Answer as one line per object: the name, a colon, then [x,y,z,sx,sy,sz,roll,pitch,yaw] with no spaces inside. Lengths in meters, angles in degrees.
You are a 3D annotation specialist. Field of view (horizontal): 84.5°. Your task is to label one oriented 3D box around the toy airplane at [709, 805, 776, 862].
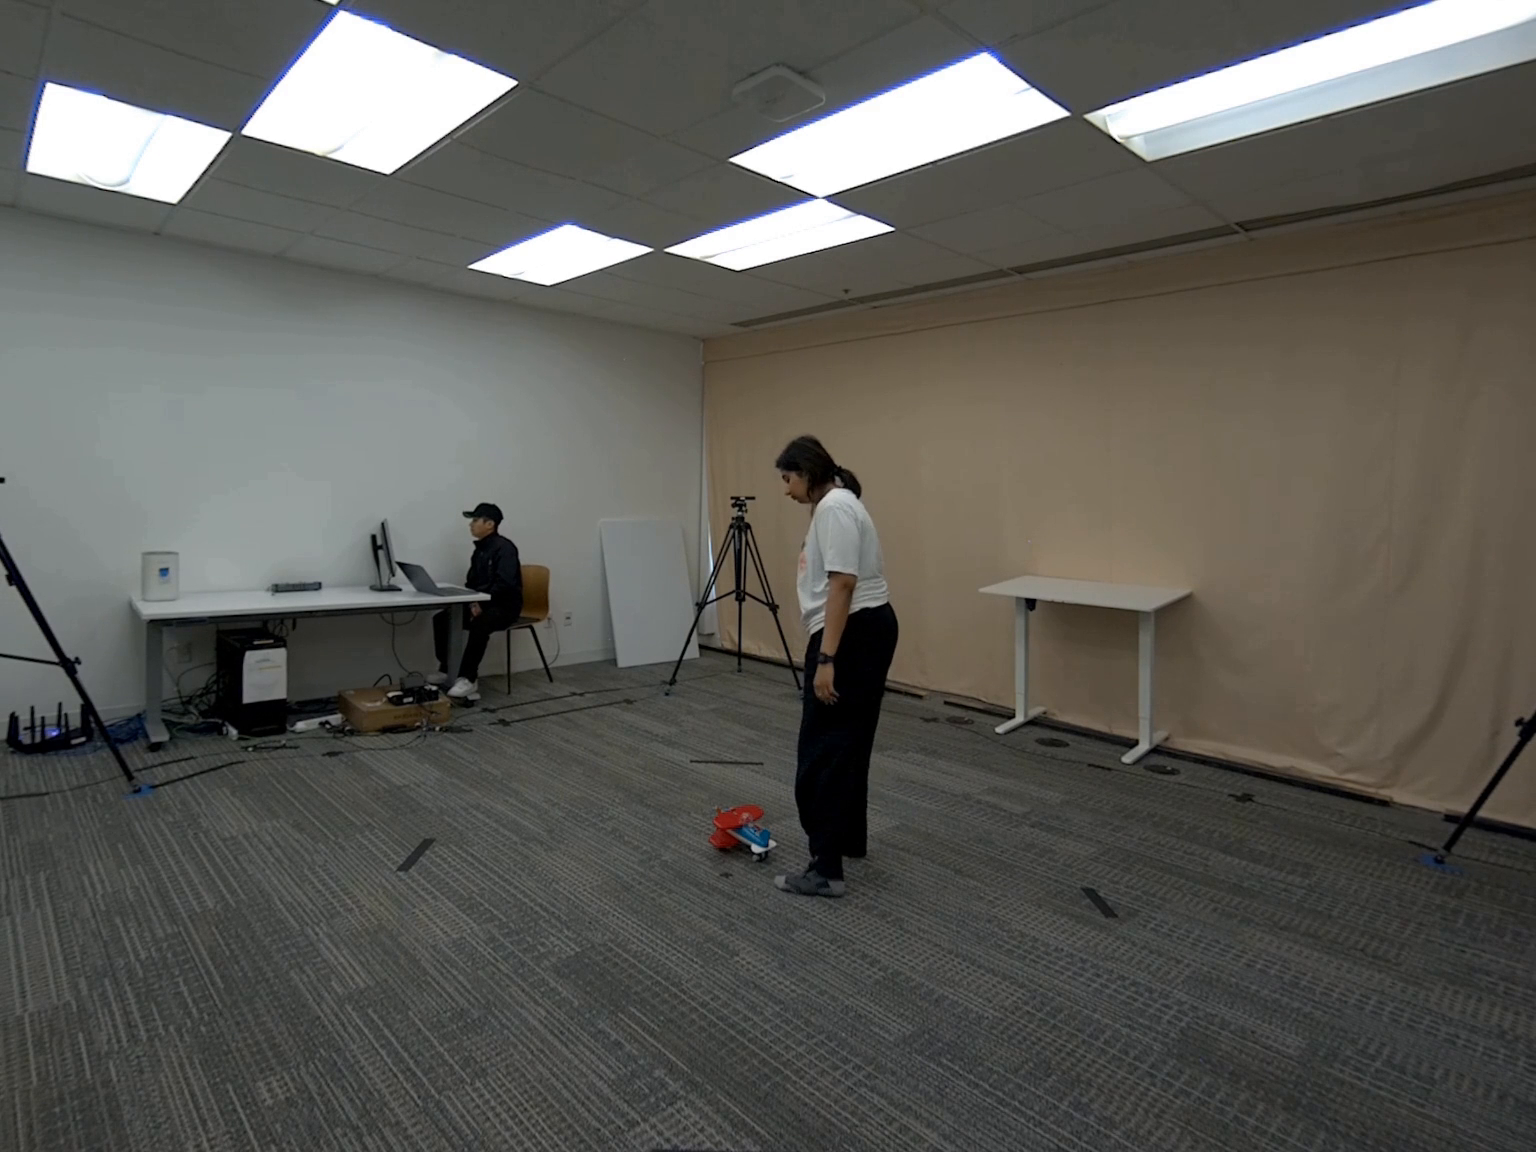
toy airplane: [-0.093,1.010,3.317,0.262,0.156,0.248,2,4,14]
